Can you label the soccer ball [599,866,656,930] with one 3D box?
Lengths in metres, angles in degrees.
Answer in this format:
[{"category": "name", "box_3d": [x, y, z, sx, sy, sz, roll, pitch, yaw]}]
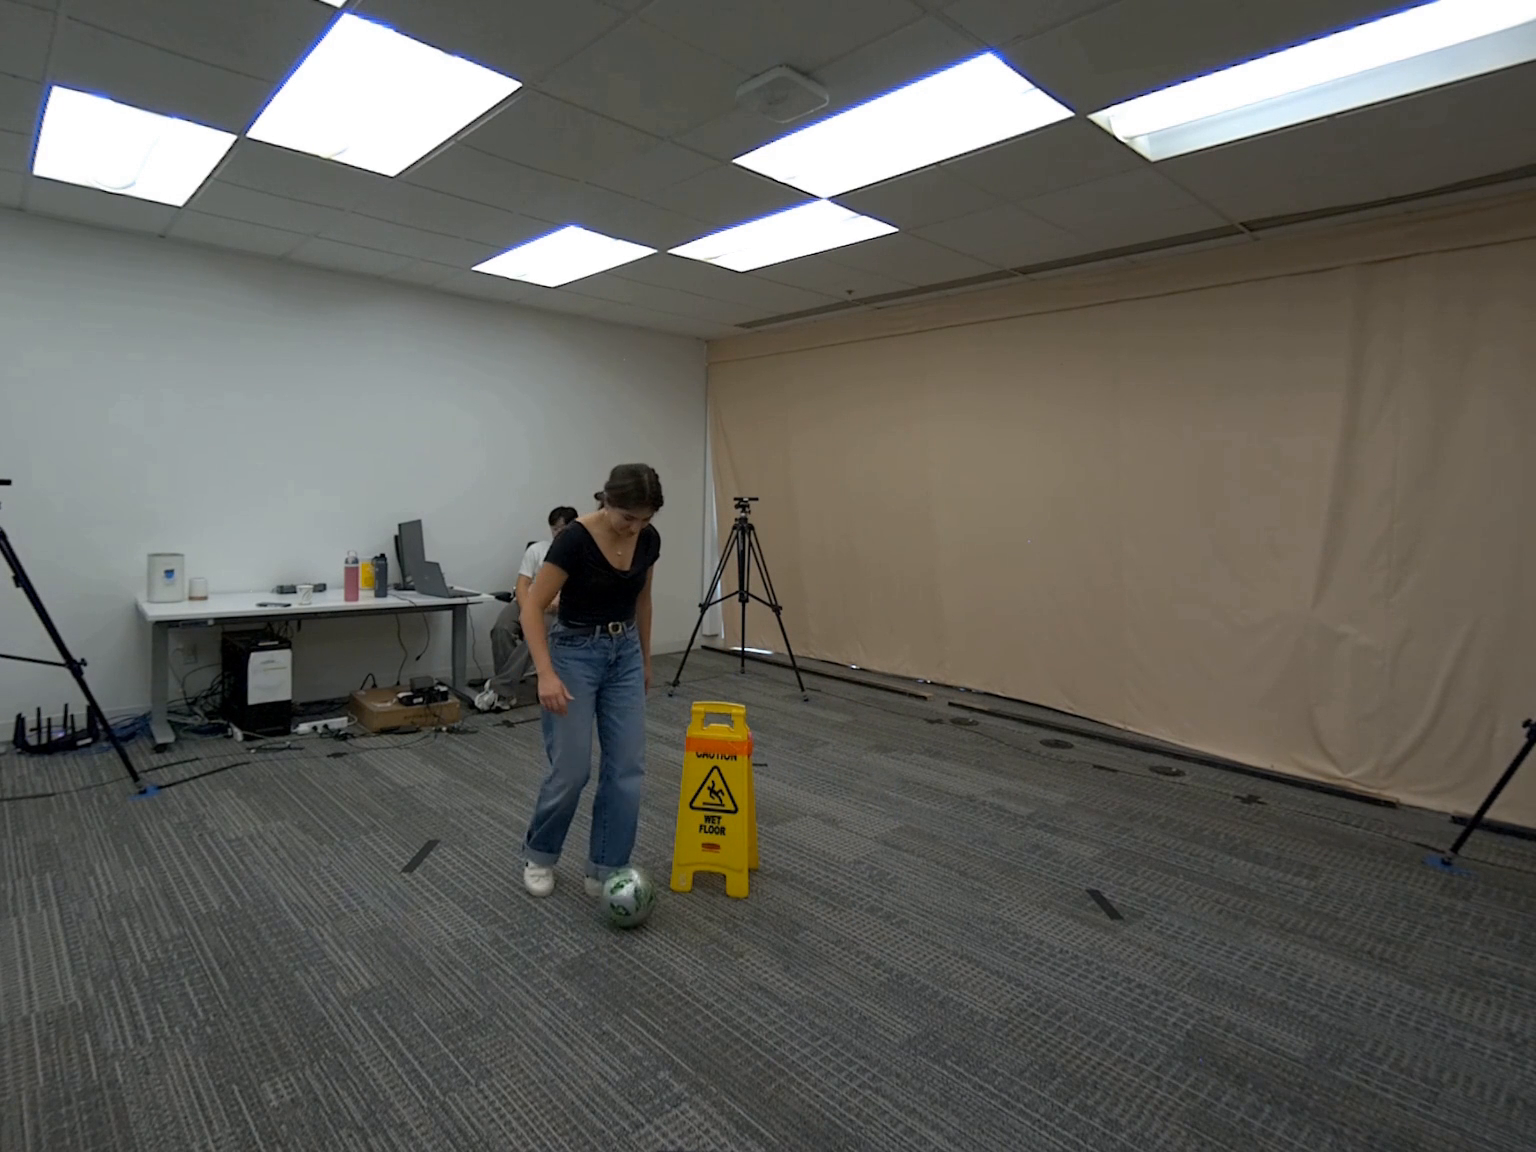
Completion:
[{"category": "soccer ball", "box_3d": [-0.458, 1.047, 2.723, 0.187, 0.187, 0.188, 1, 4, -1]}]
